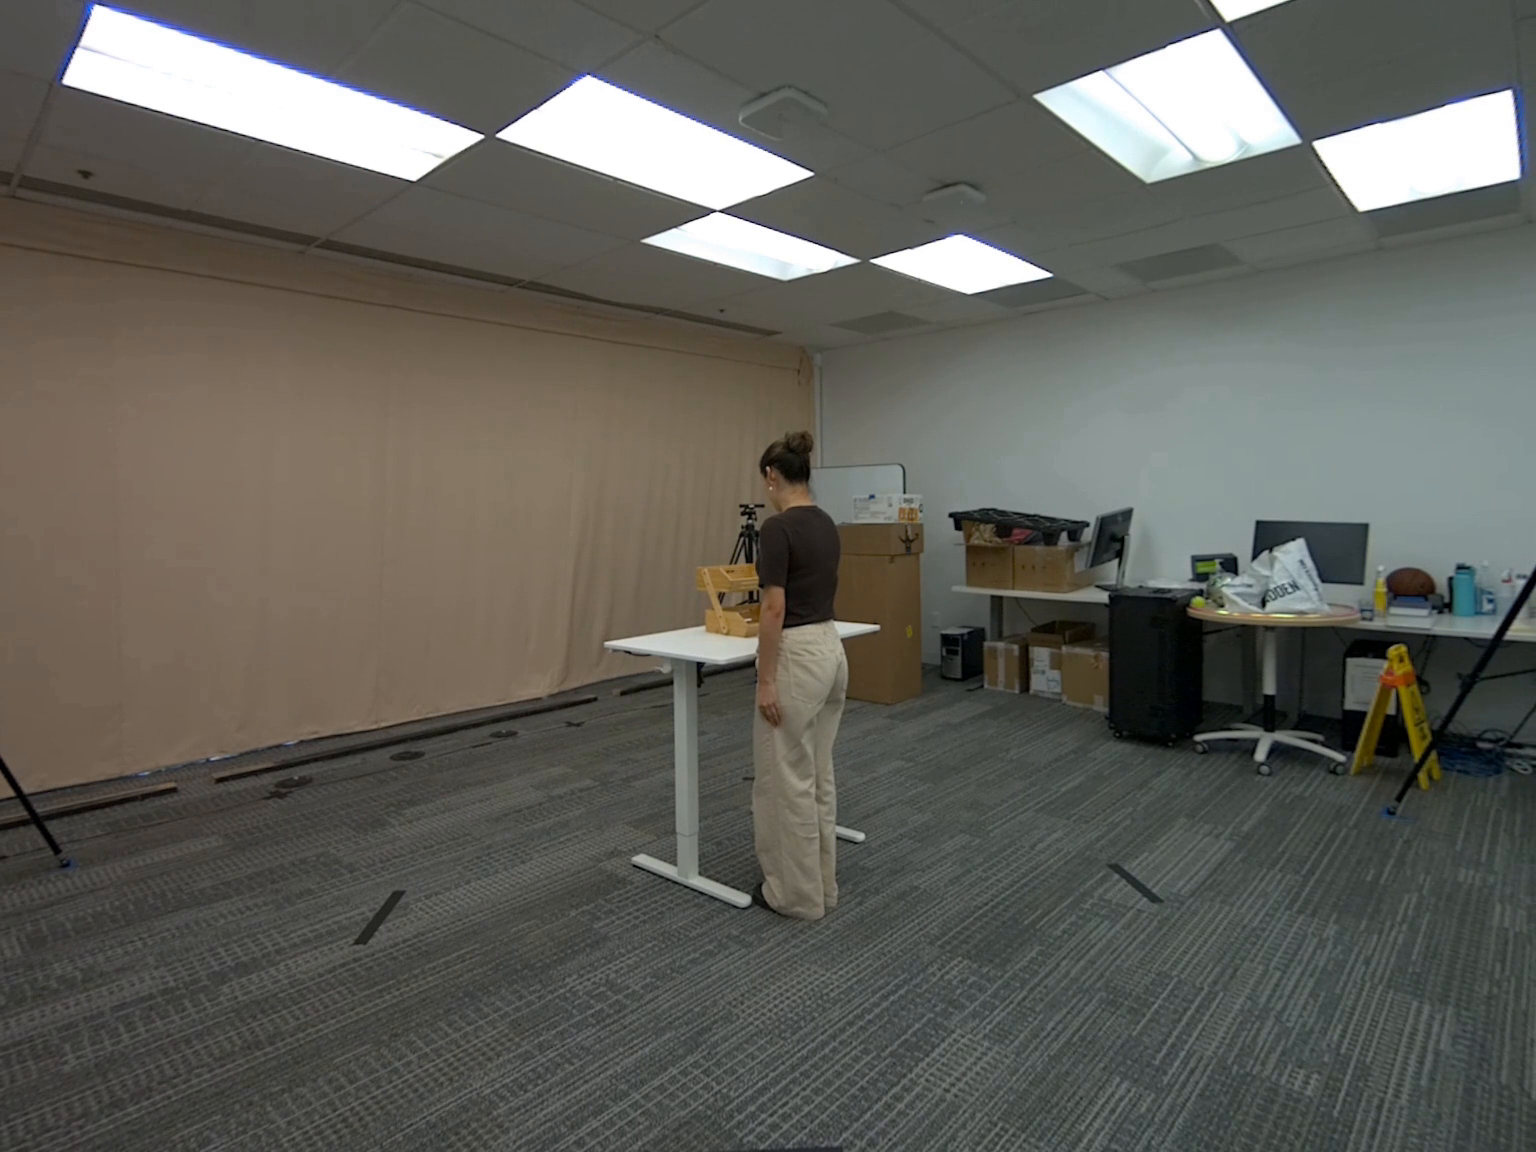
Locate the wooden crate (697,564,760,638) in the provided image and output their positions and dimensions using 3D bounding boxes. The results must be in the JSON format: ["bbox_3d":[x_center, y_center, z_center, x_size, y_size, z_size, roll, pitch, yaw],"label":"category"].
[{"bbox_3d":[-0.077,0.089,3.422,0.314,0.273,0.312,-4,4,-43],"label":"wooden crate"}]
